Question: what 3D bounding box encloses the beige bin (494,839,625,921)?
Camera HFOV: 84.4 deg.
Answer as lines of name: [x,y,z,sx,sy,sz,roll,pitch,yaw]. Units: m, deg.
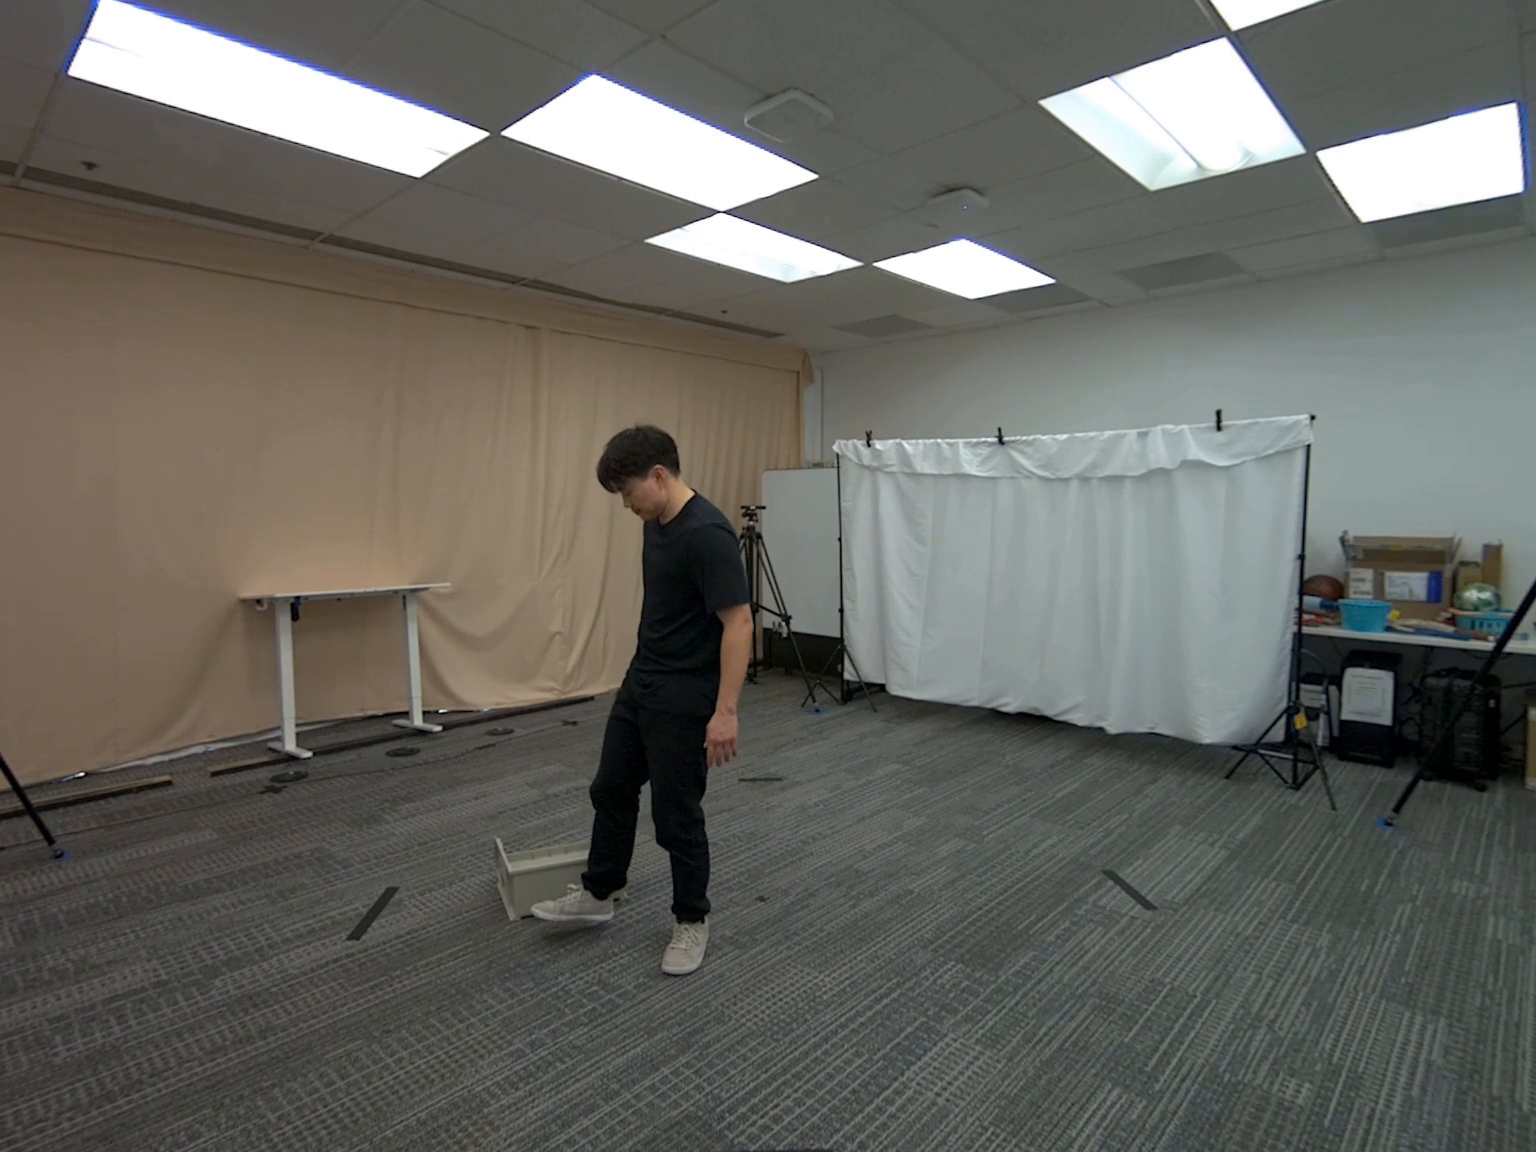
beige bin: [-0.763,1.055,3.064,0.412,0.188,0.387,-2,5,-25]
